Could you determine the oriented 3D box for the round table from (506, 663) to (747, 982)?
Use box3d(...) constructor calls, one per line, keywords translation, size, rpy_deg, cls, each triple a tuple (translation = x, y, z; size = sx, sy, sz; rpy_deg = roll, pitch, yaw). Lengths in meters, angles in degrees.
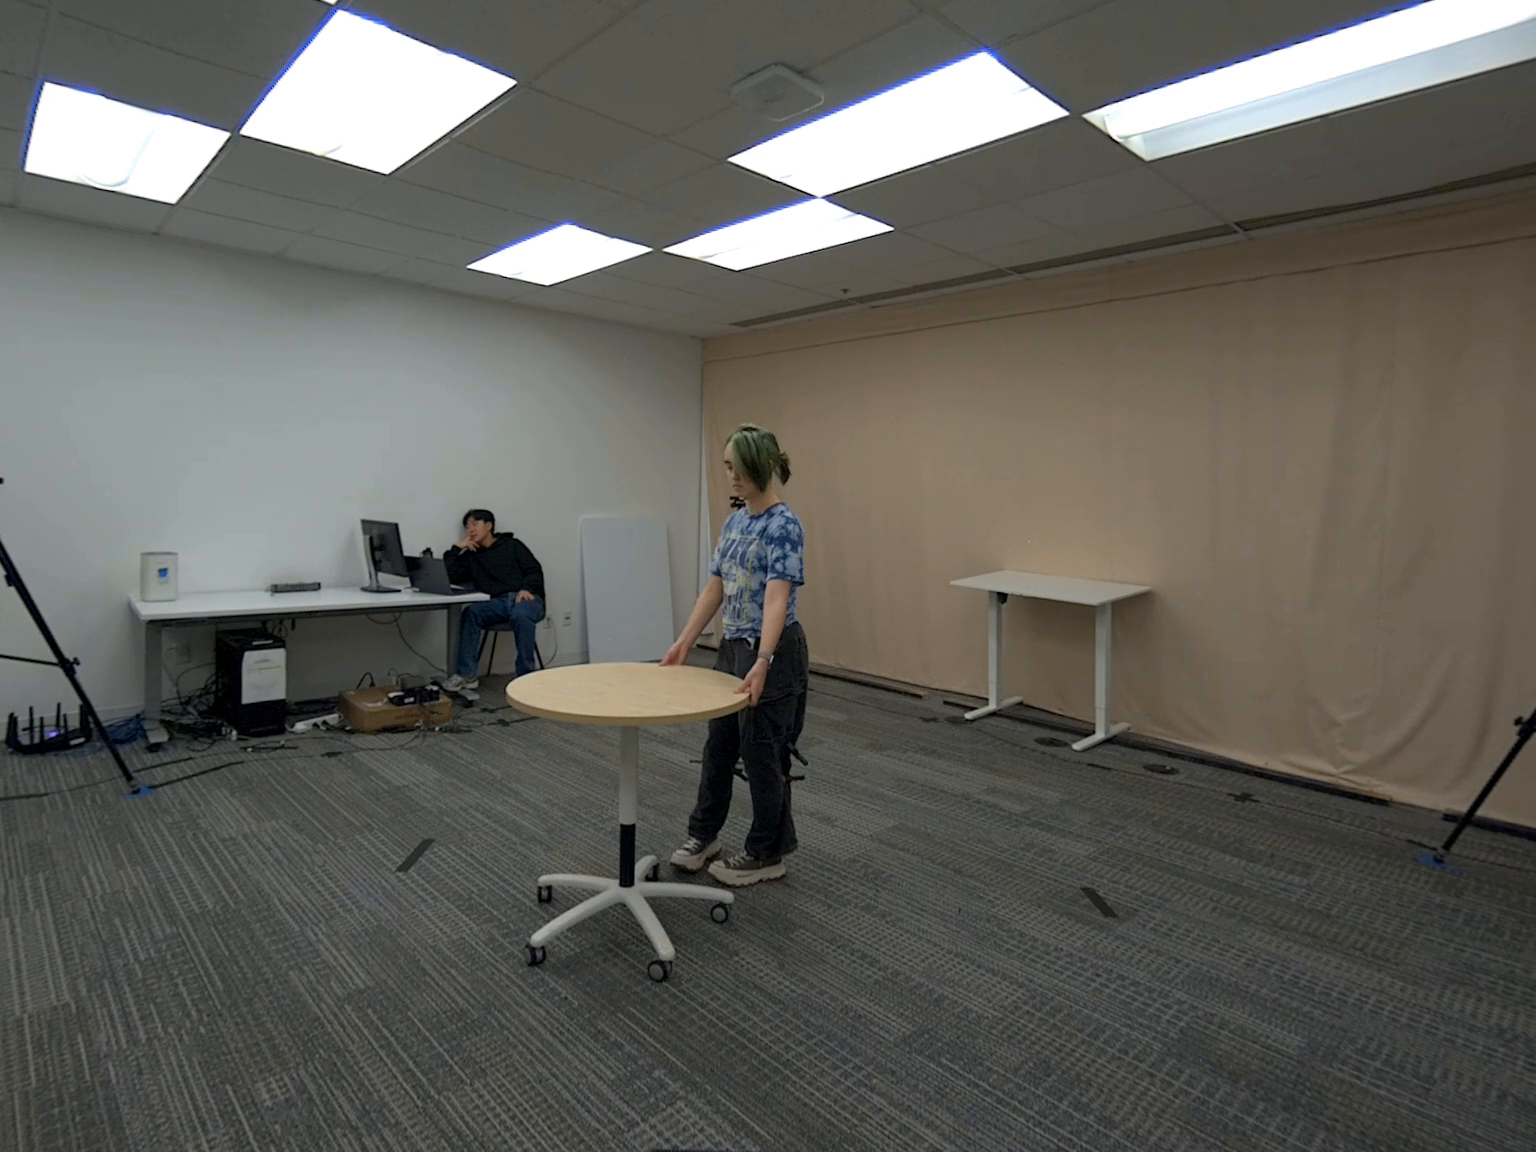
box3d(translation=(-0.453, 0.744, 2.696), size=(0.763, 0.792, 0.767), rpy_deg=(1, 4, -1), cls="round table")
